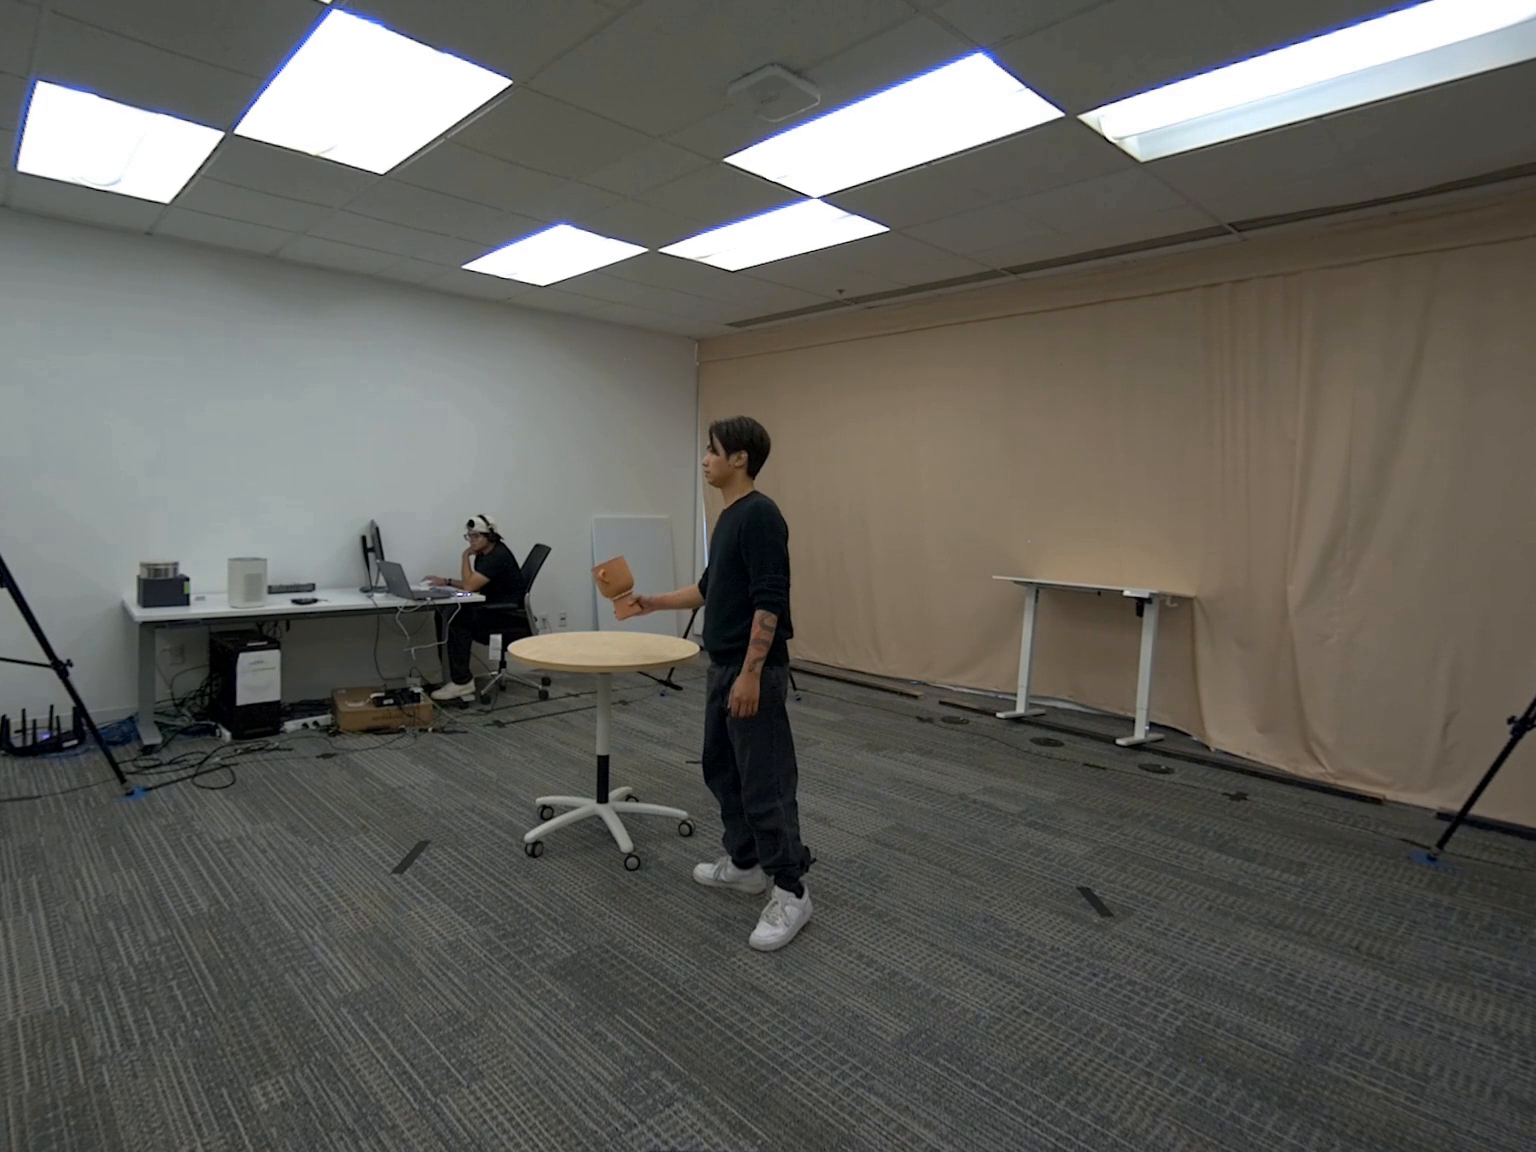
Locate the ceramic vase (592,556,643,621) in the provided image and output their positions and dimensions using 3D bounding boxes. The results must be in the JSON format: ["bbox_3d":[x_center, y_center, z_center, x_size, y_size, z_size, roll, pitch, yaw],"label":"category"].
[{"bbox_3d":[-0.559,0.050,3.148,0.157,0.219,0.136,-25,2,-33],"label":"ceramic vase"}]
